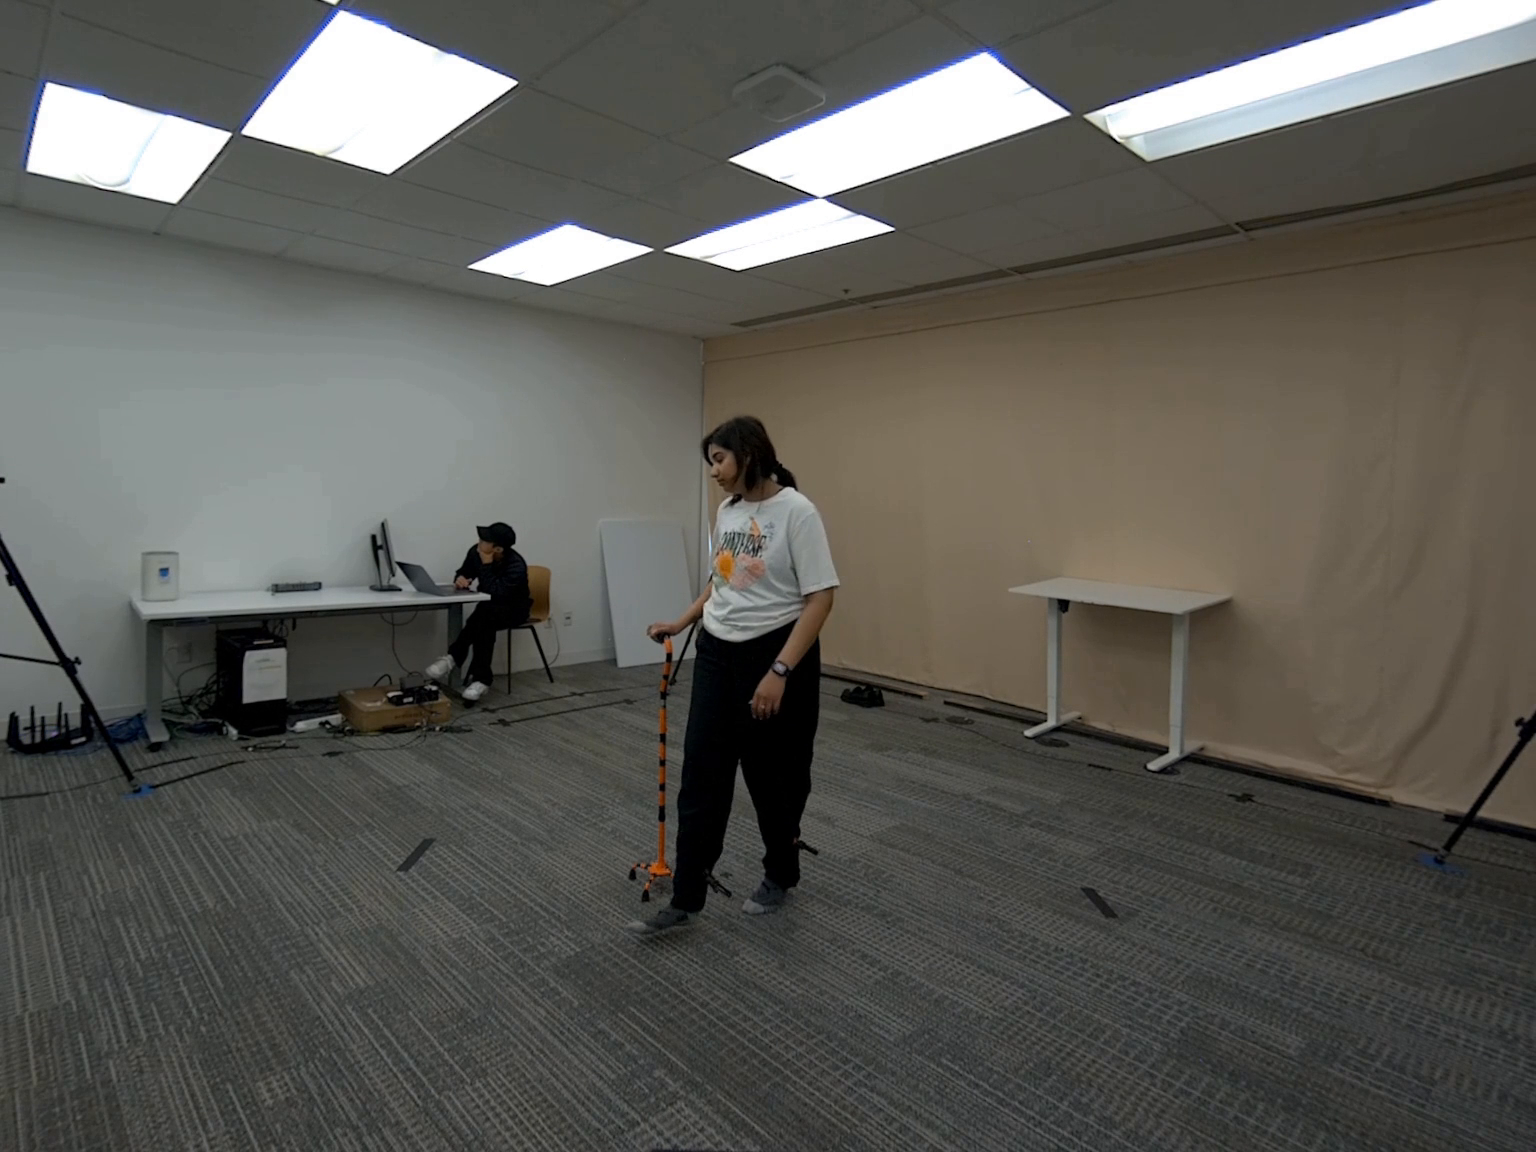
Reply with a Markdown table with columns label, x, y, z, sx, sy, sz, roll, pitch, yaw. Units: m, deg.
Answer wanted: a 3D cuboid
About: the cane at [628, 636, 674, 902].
| label | x | y | z | sx | sy | sz | roll | pitch | yaw |
| --- | --- | --- | --- | --- | --- | --- | --- | --- | --- |
| cane | -0.398 | 0.657 | 2.981 | 0.149 | 0.906 | 0.210 | -1 | 4 | -25 |
